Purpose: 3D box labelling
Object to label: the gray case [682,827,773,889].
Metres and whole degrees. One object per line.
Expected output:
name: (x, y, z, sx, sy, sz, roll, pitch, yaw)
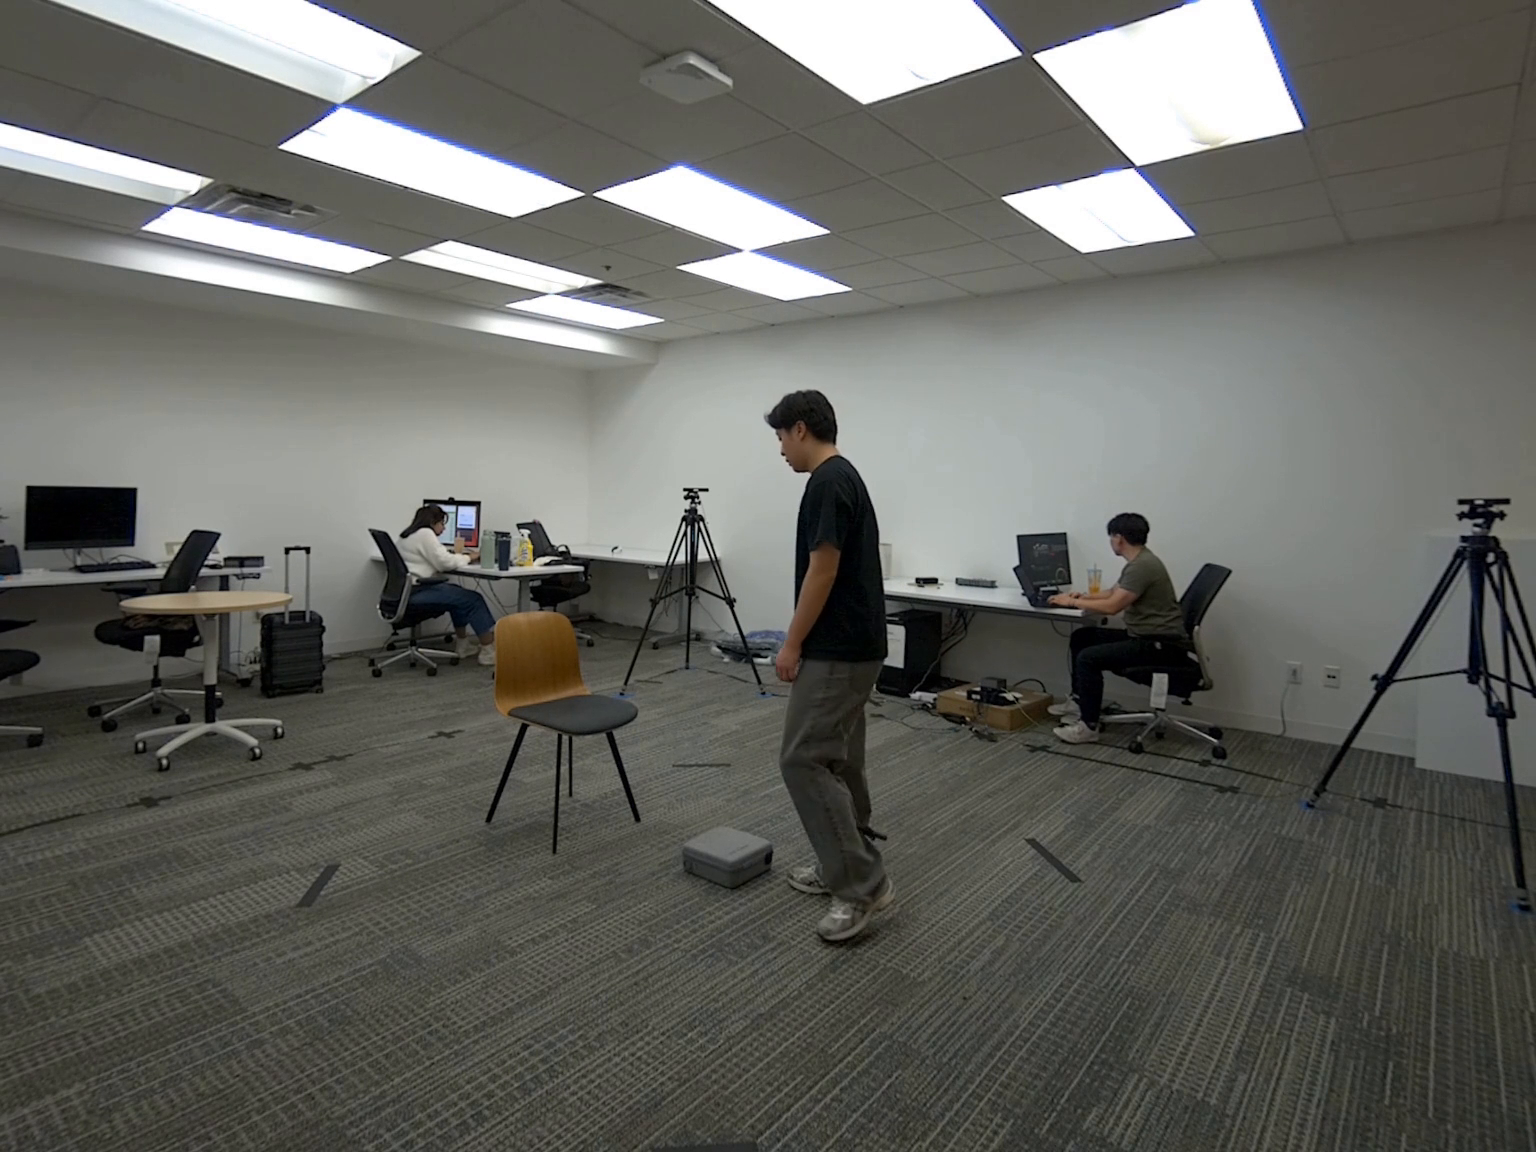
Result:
gray case: (-0.168, 1.015, 3.112, 0.297, 0.103, 0.255, 4, 6, 39)
